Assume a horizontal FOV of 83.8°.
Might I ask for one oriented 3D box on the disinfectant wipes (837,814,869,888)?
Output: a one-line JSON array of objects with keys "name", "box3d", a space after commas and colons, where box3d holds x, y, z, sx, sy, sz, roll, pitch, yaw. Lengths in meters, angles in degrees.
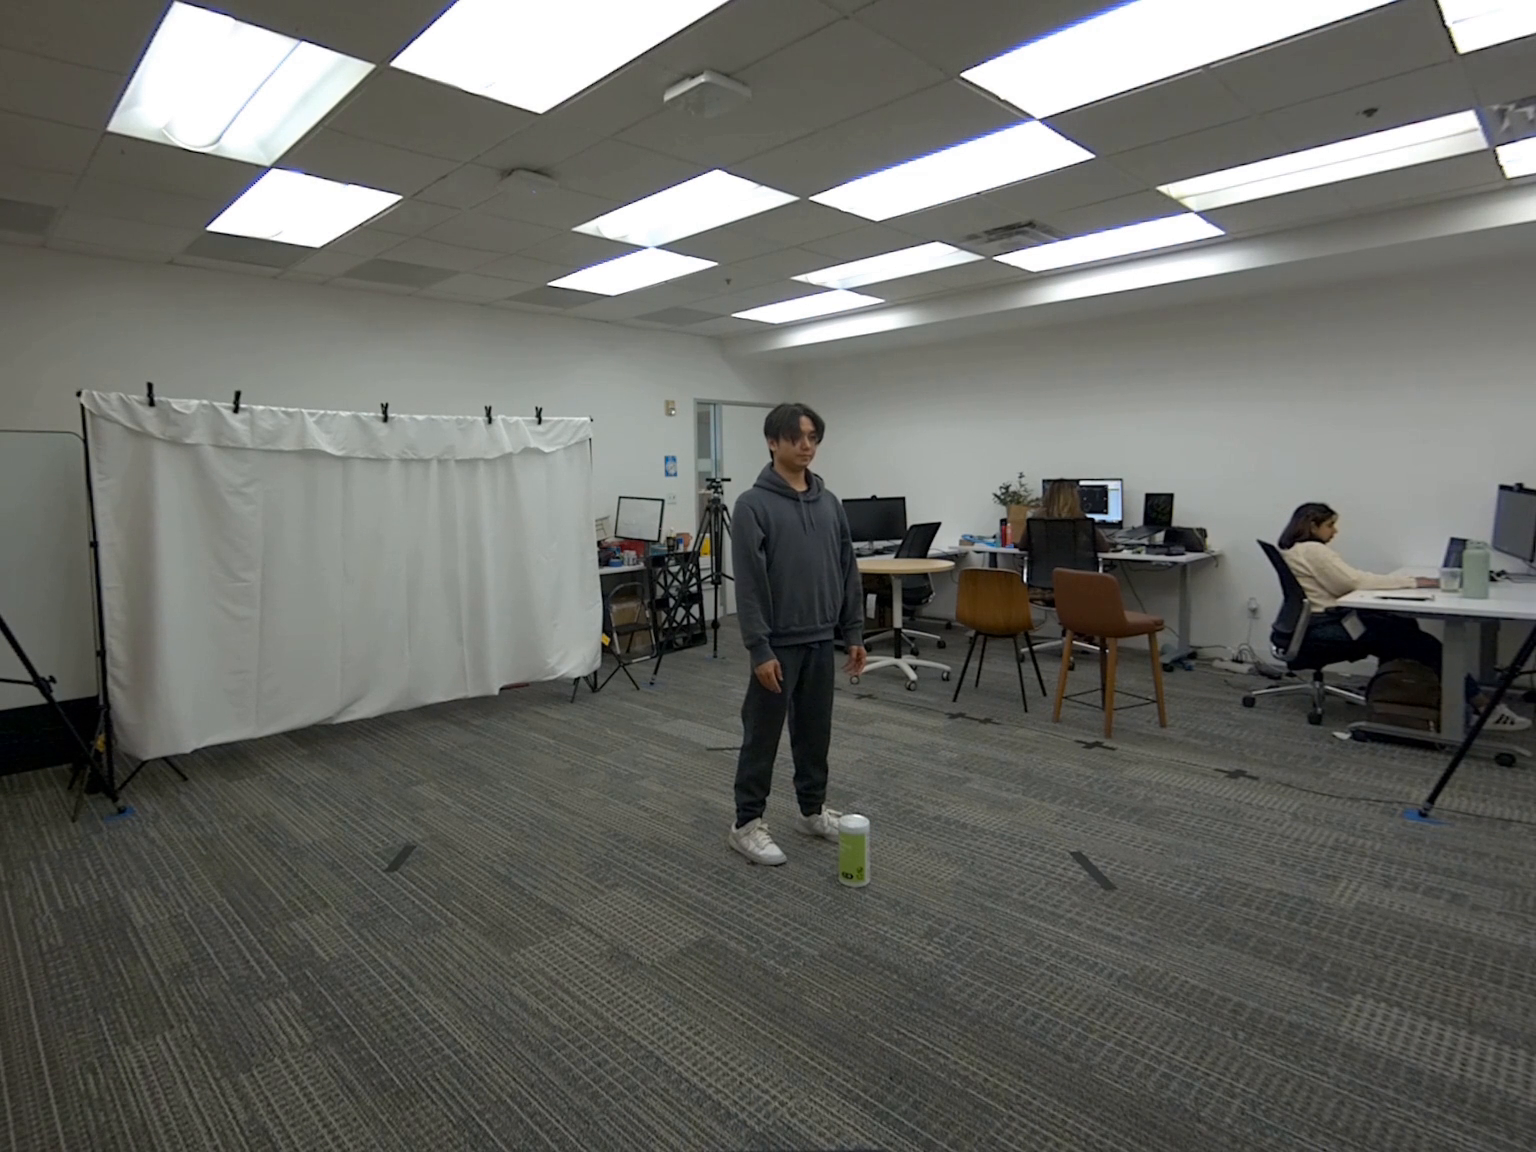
[{"name": "disinfectant wipes", "box3d": [0.304, 0.950, 2.950, 0.118, 0.216, 0.118, -2, 5, -1]}]
